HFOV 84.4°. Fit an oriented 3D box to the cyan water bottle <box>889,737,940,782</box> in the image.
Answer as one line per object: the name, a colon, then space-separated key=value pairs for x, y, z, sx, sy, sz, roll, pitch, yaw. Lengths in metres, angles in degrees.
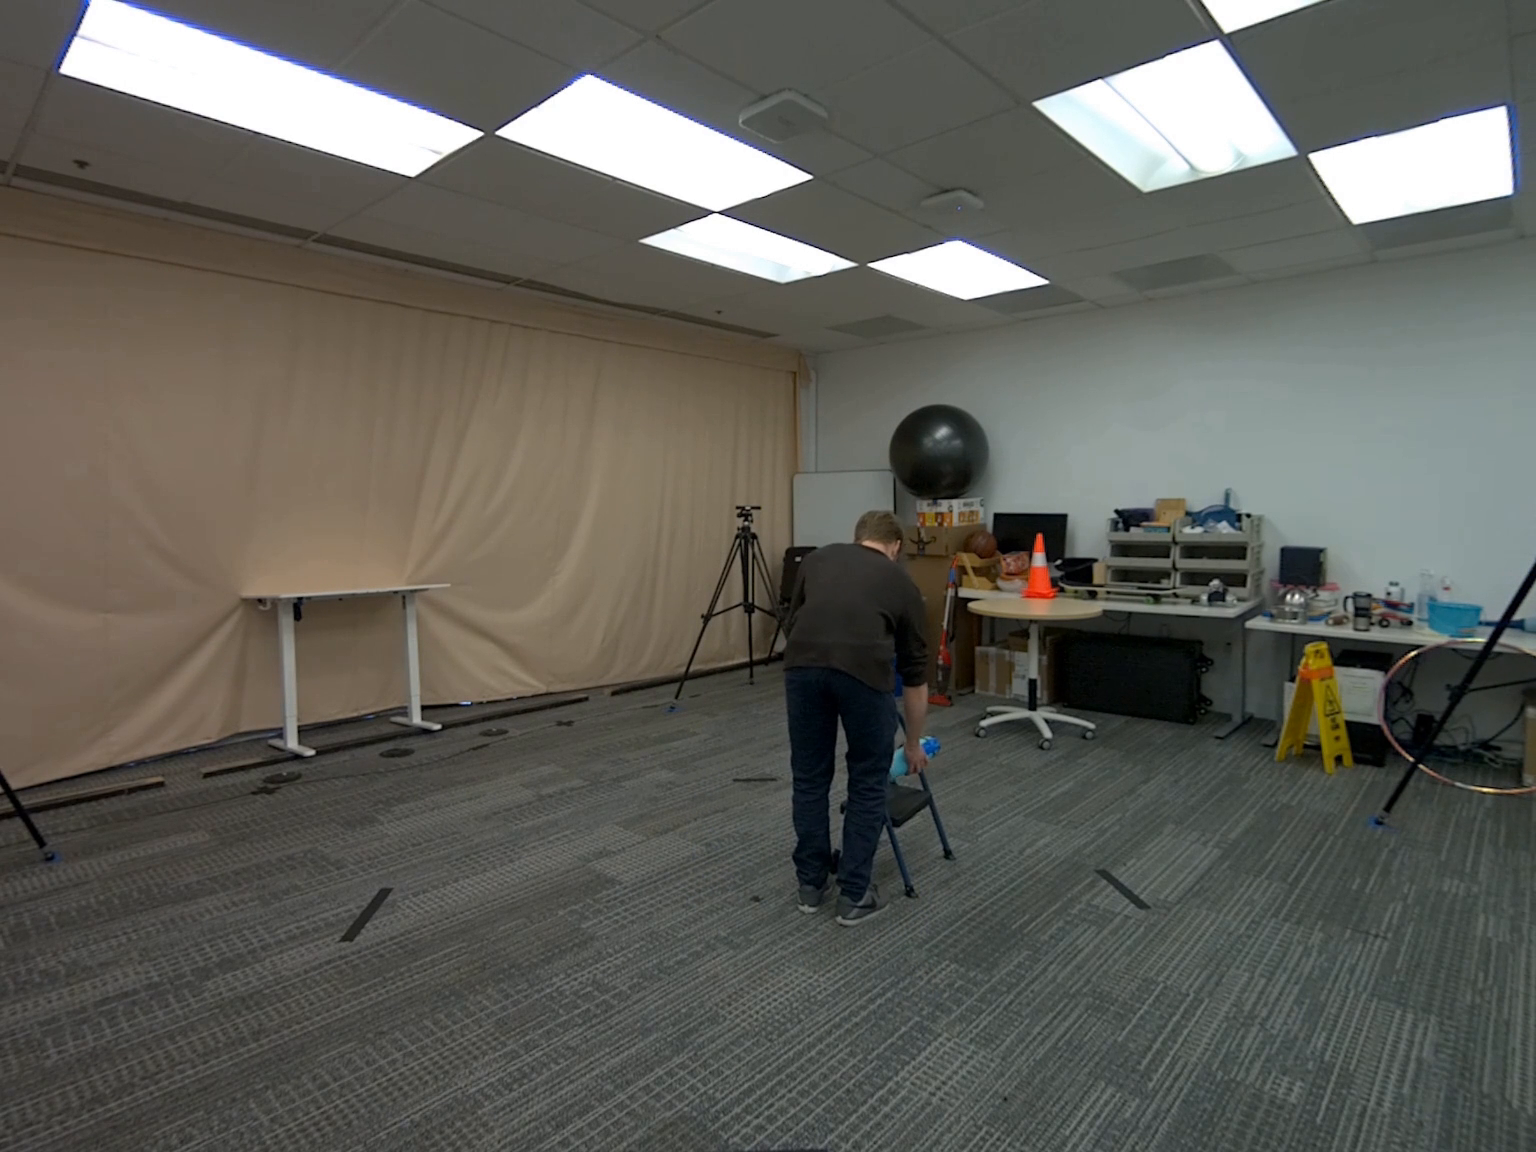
cyan water bottle: x=0.540 y=0.683 z=3.205 sx=0.278 sy=0.091 sz=0.095 roll=-20 pitch=13 yaw=-25
